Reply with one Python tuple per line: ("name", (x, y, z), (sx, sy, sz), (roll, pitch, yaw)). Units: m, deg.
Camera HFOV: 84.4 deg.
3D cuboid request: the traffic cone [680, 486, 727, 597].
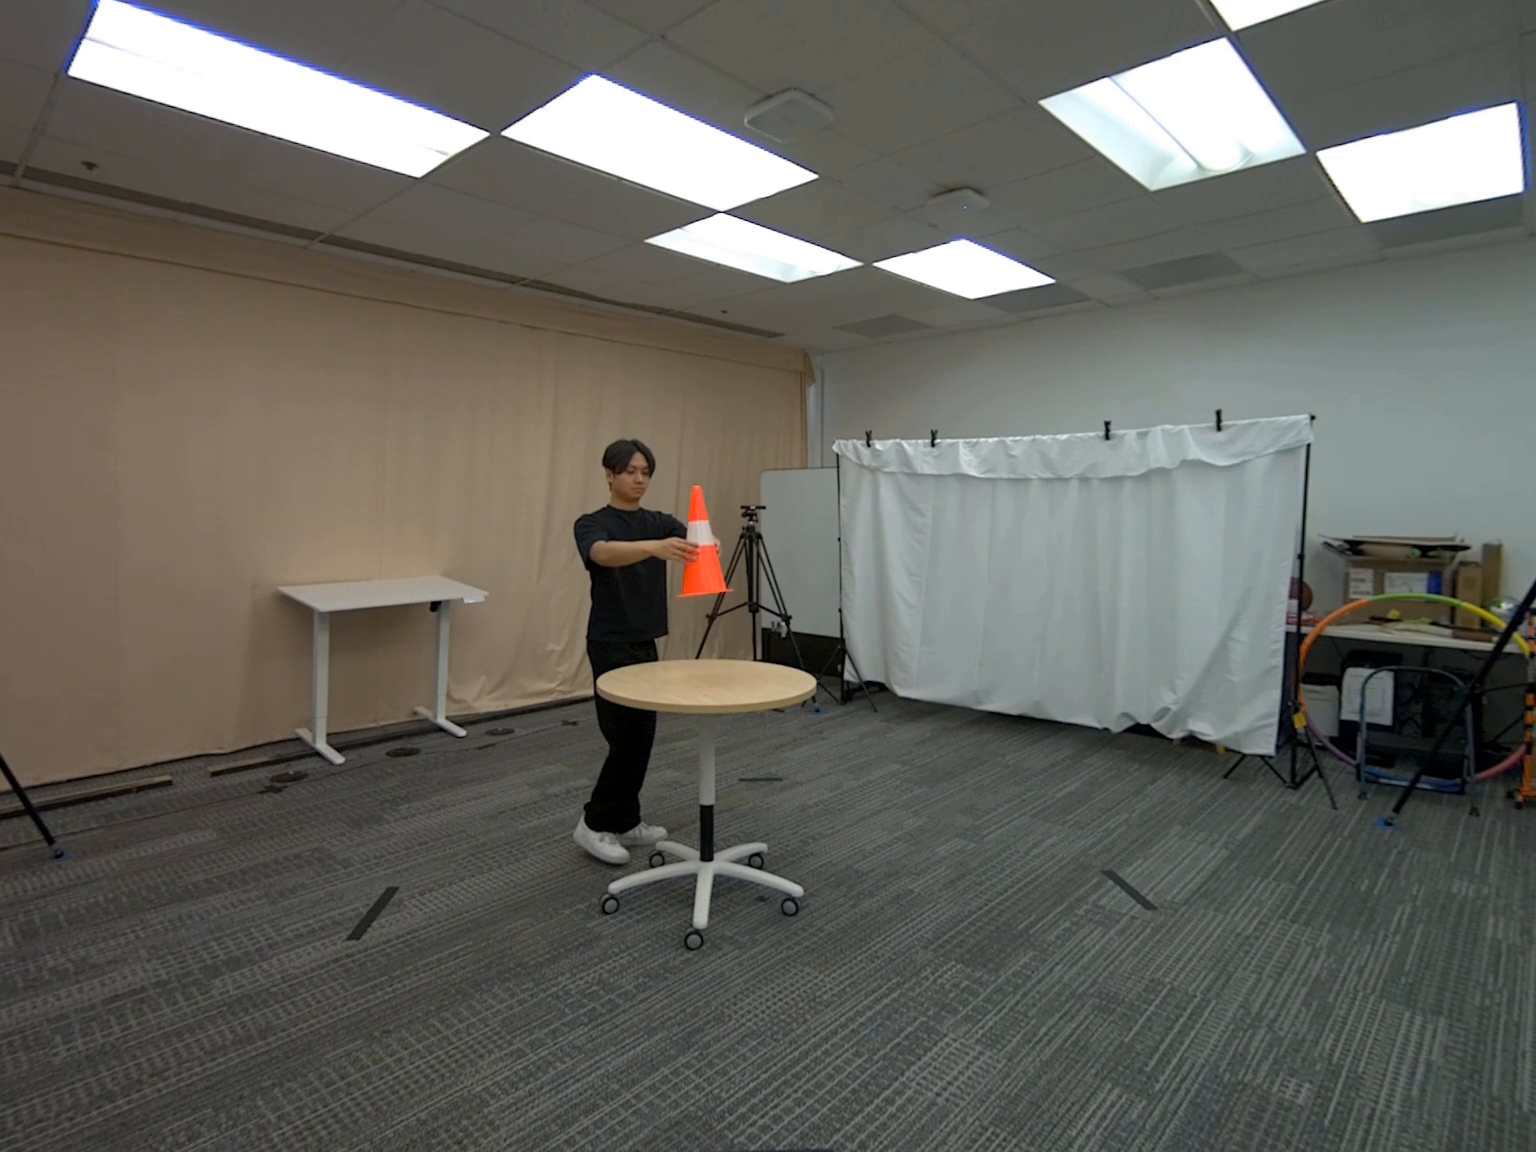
("traffic cone", (-0.243, -0.130, 2.986), (0.204, 0.384, 0.204), (-6, 0, -5))
